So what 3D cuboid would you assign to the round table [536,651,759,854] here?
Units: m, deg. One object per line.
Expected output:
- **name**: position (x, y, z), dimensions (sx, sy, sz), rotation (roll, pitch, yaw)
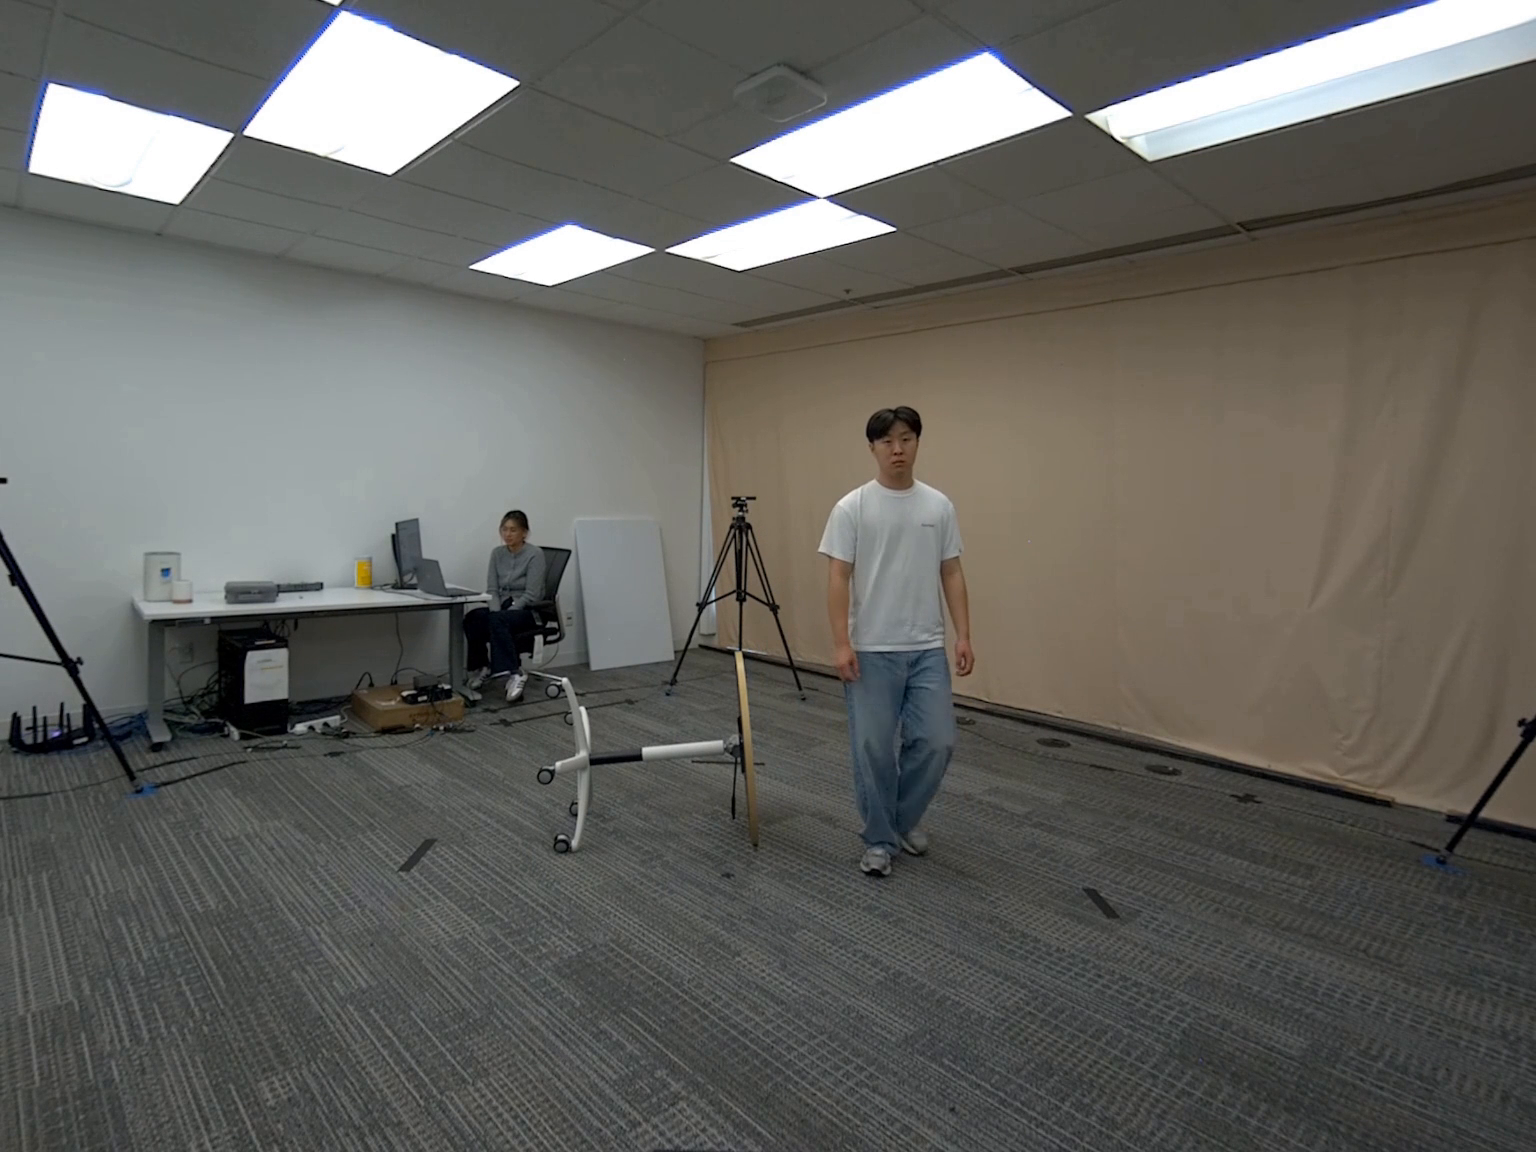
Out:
- **round table**: position (-0.475, 0.720, 3.439), dimensions (0.785, 0.782, 0.789), rotation (-5, 5, -4)
